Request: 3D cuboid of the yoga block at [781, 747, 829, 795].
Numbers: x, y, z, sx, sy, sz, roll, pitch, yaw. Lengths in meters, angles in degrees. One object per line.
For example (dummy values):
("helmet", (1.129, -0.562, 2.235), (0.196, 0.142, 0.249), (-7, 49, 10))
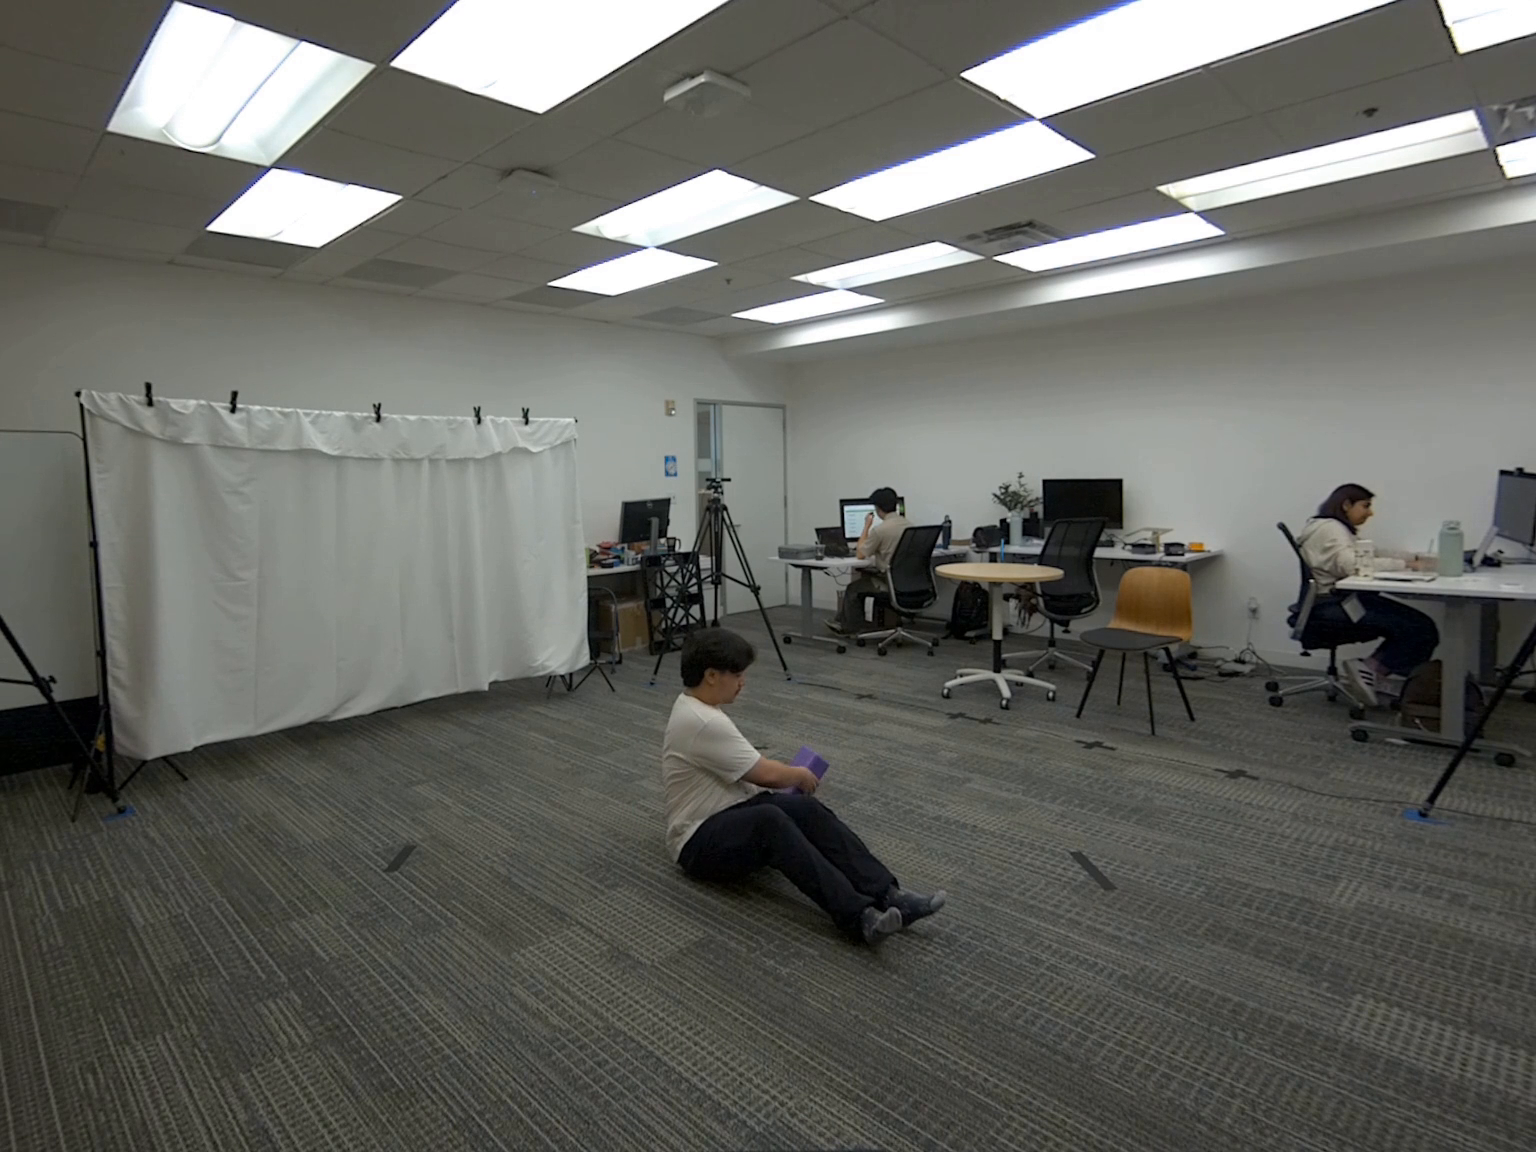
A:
("yoga block", (0.132, 0.798, 3.376), (0.075, 0.230, 0.152), (39, -12, -20))
